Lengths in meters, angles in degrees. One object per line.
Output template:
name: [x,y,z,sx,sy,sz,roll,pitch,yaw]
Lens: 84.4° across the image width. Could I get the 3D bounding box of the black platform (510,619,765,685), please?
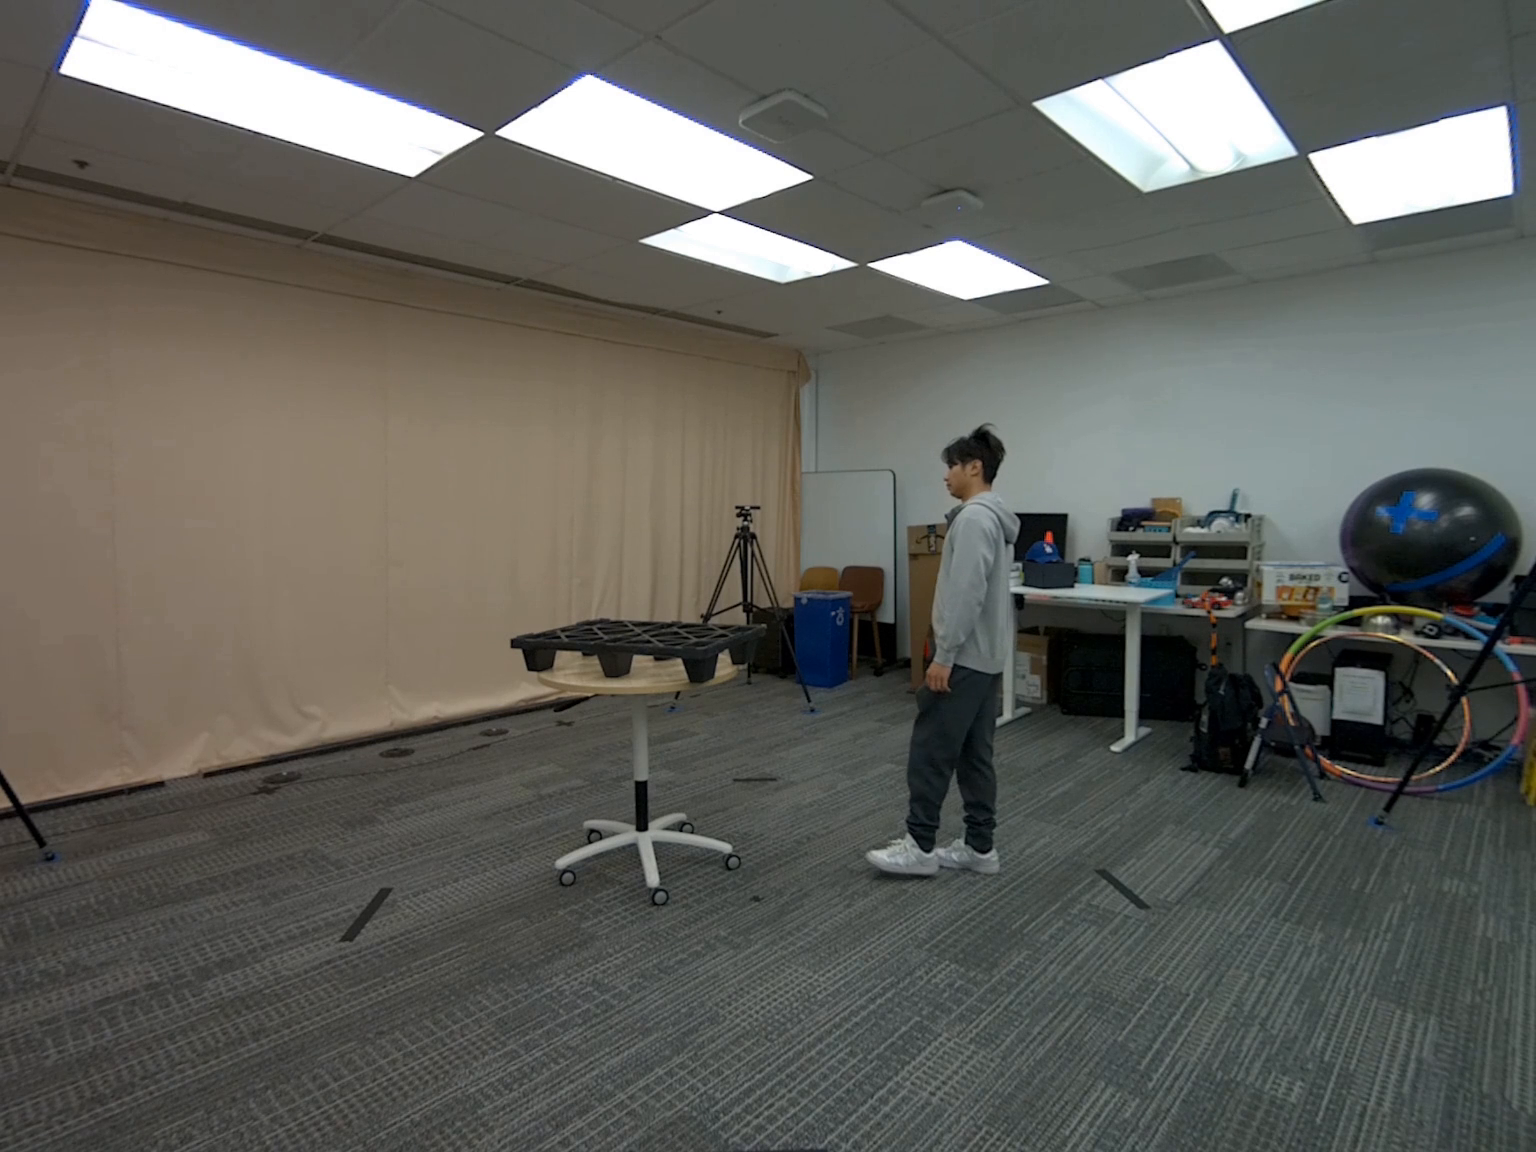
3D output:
black platform: [-0.481,0.279,3.244,0.825,0.143,0.591,1,4,24]
